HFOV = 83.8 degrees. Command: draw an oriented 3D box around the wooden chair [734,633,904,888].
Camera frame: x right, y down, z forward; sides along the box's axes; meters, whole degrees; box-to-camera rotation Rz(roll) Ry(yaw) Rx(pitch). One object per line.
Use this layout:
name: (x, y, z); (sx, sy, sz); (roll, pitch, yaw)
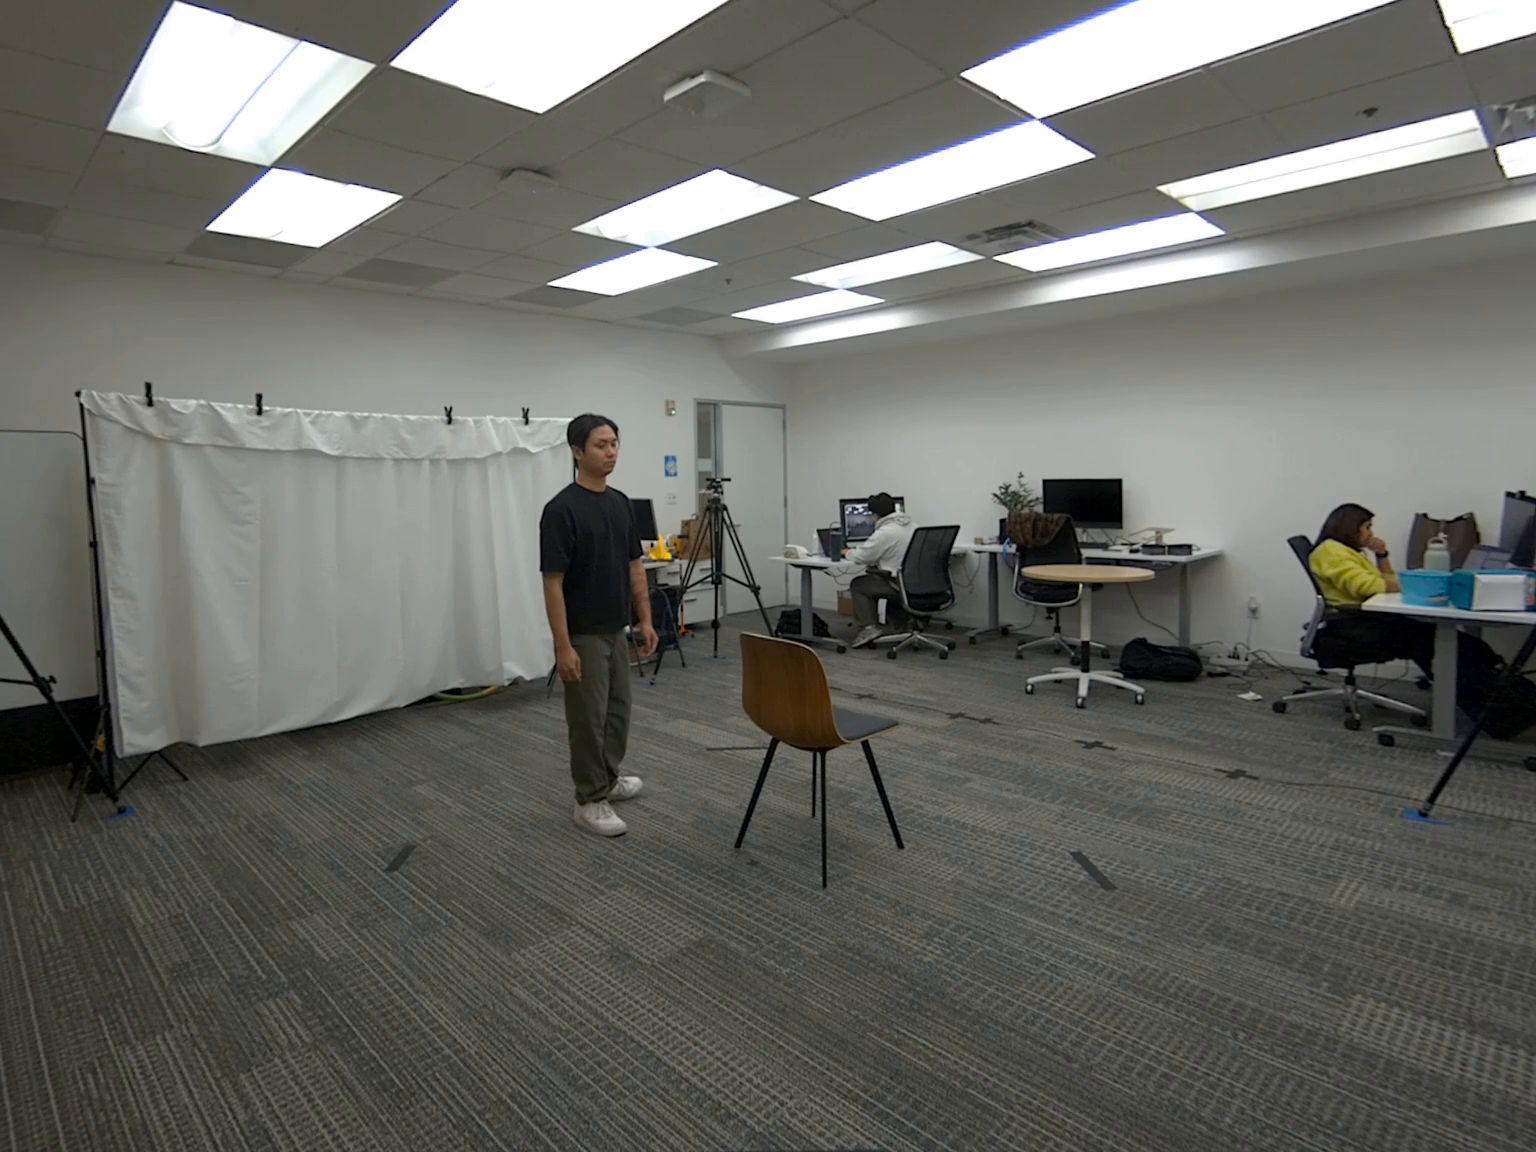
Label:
wooden chair: (0.195, 0.605, 3.187); (0.510, 0.872, 0.493); (-10, 9, -43)
